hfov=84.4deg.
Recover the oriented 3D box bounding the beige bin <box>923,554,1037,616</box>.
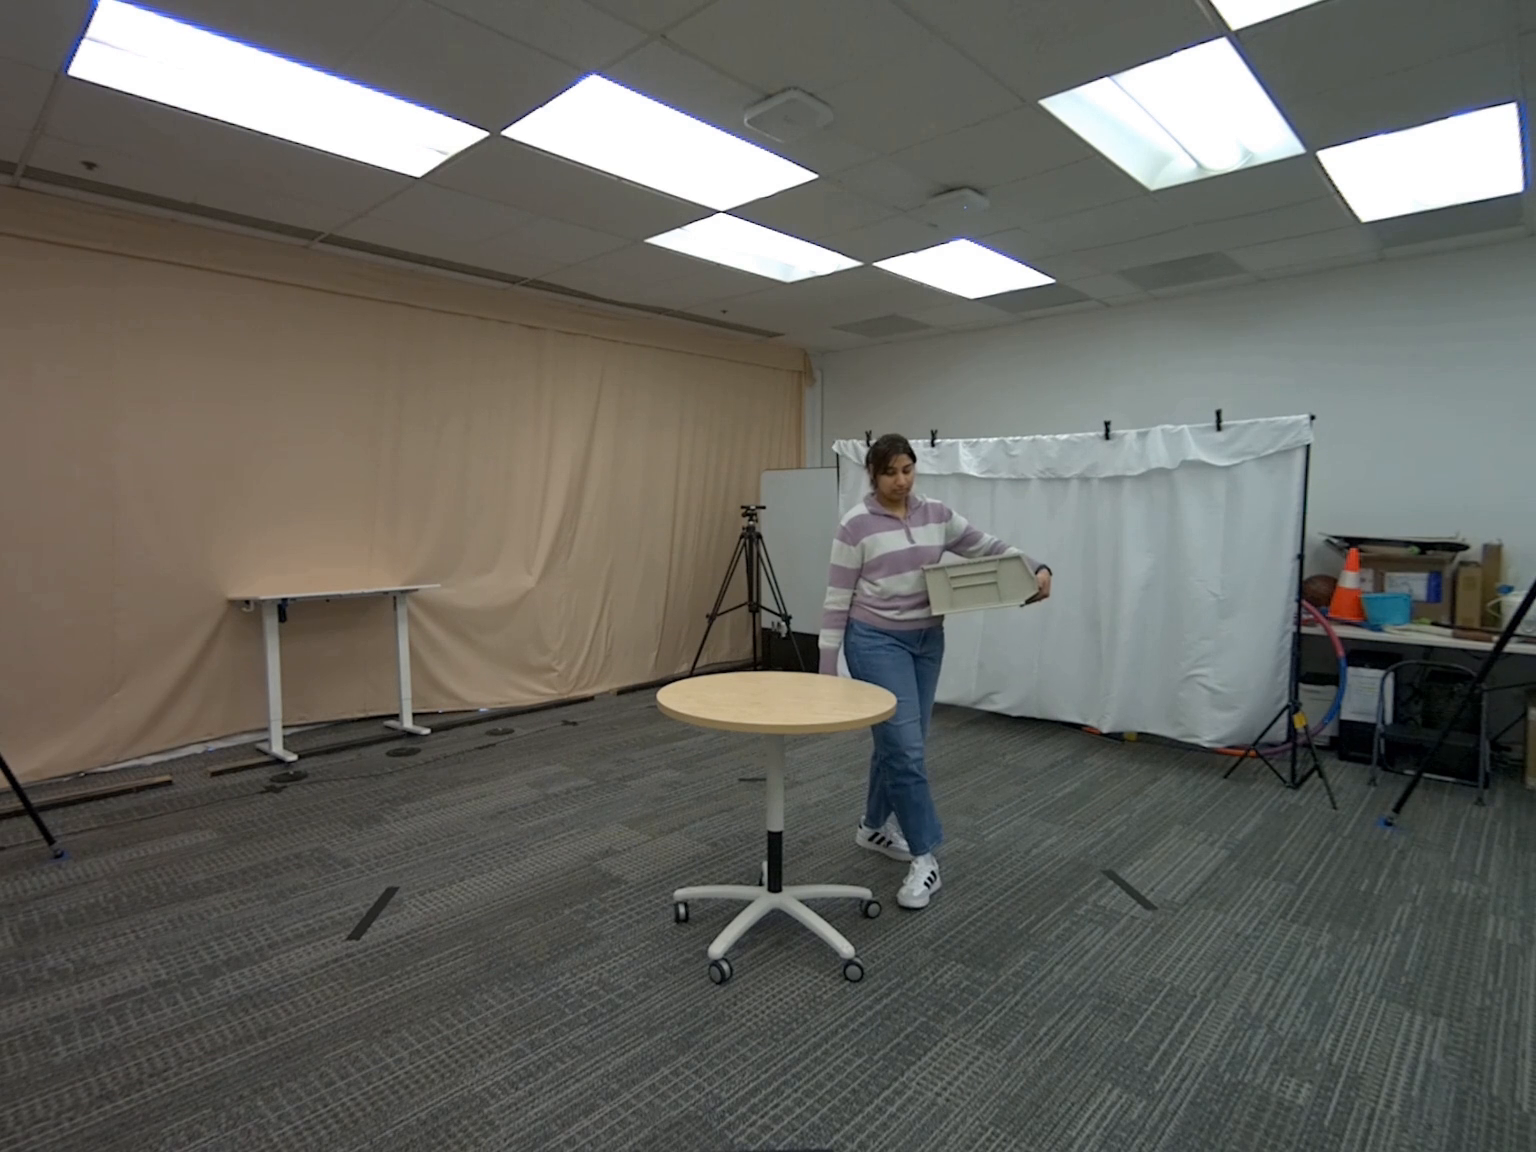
[{"bbox_3d":[0.809,0.031,3.117,0.384,0.190,0.413,-9,-5,20],"label":"beige bin"}]
